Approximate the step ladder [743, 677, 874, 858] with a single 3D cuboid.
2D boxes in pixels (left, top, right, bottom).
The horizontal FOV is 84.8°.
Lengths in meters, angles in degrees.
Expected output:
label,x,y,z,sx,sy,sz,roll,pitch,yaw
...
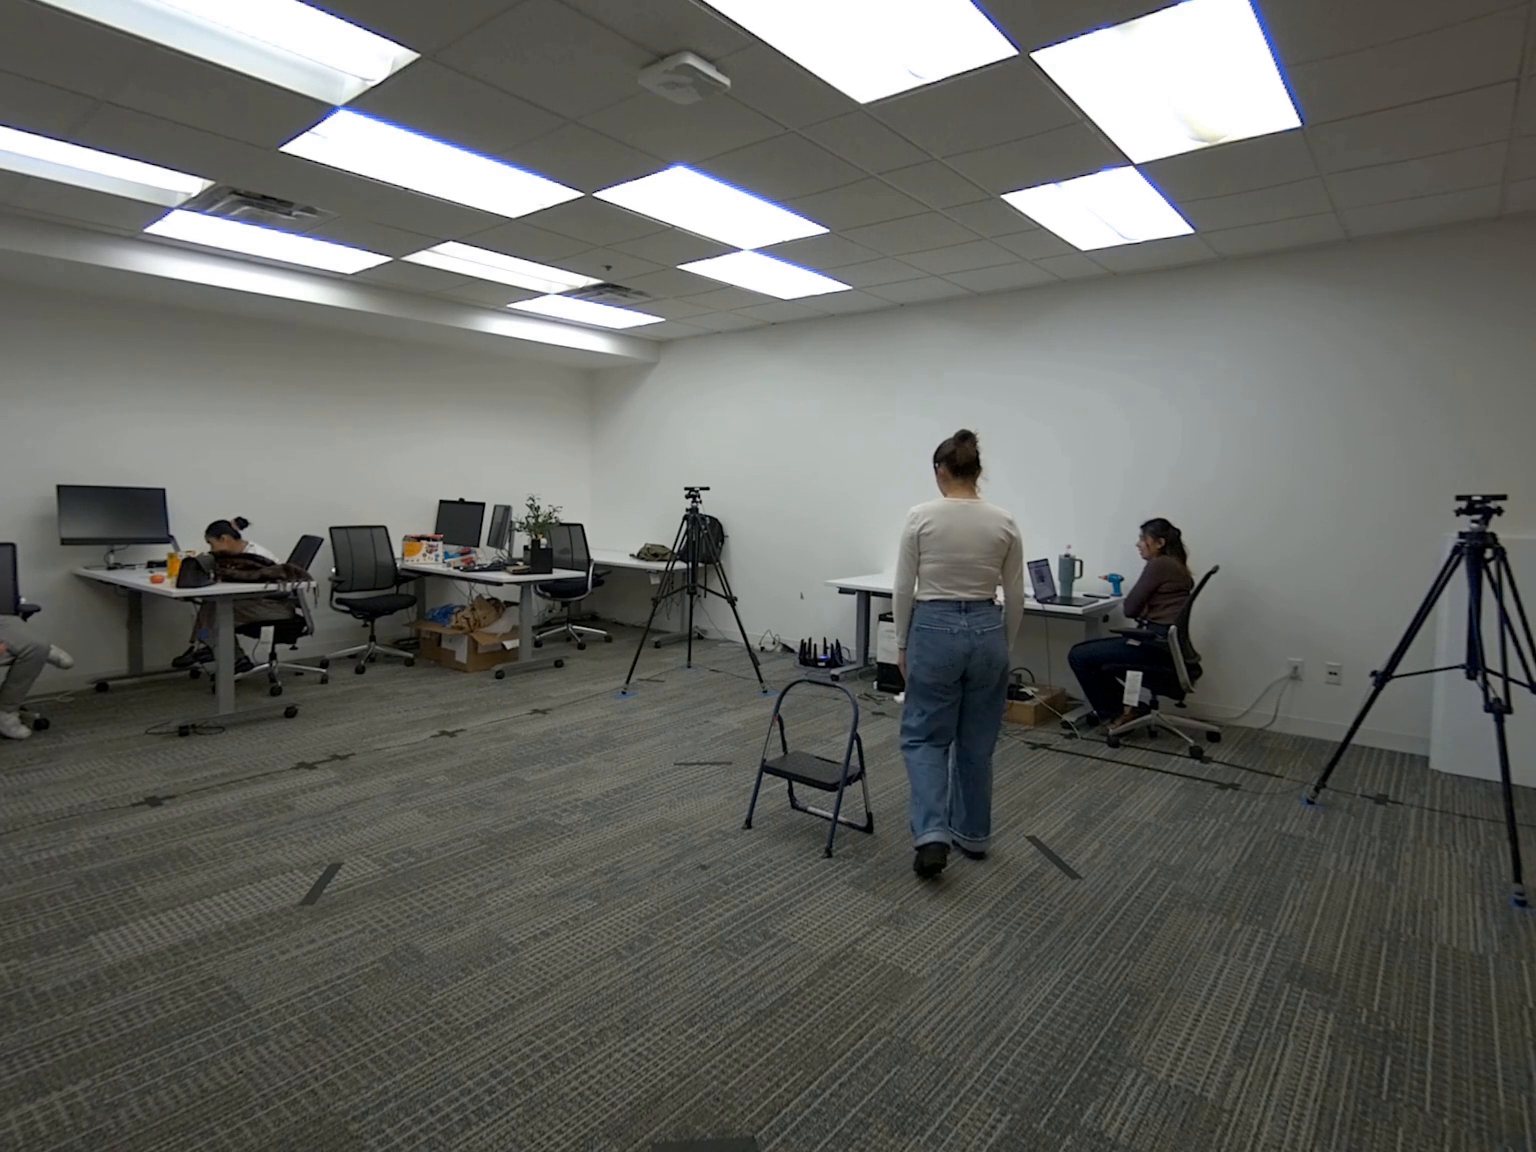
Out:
label,x,y,z,sx,sy,sz,roll,pitch,yaw
step ladder,0.165,0.735,3.463,0.445,0.604,0.339,5,5,39
